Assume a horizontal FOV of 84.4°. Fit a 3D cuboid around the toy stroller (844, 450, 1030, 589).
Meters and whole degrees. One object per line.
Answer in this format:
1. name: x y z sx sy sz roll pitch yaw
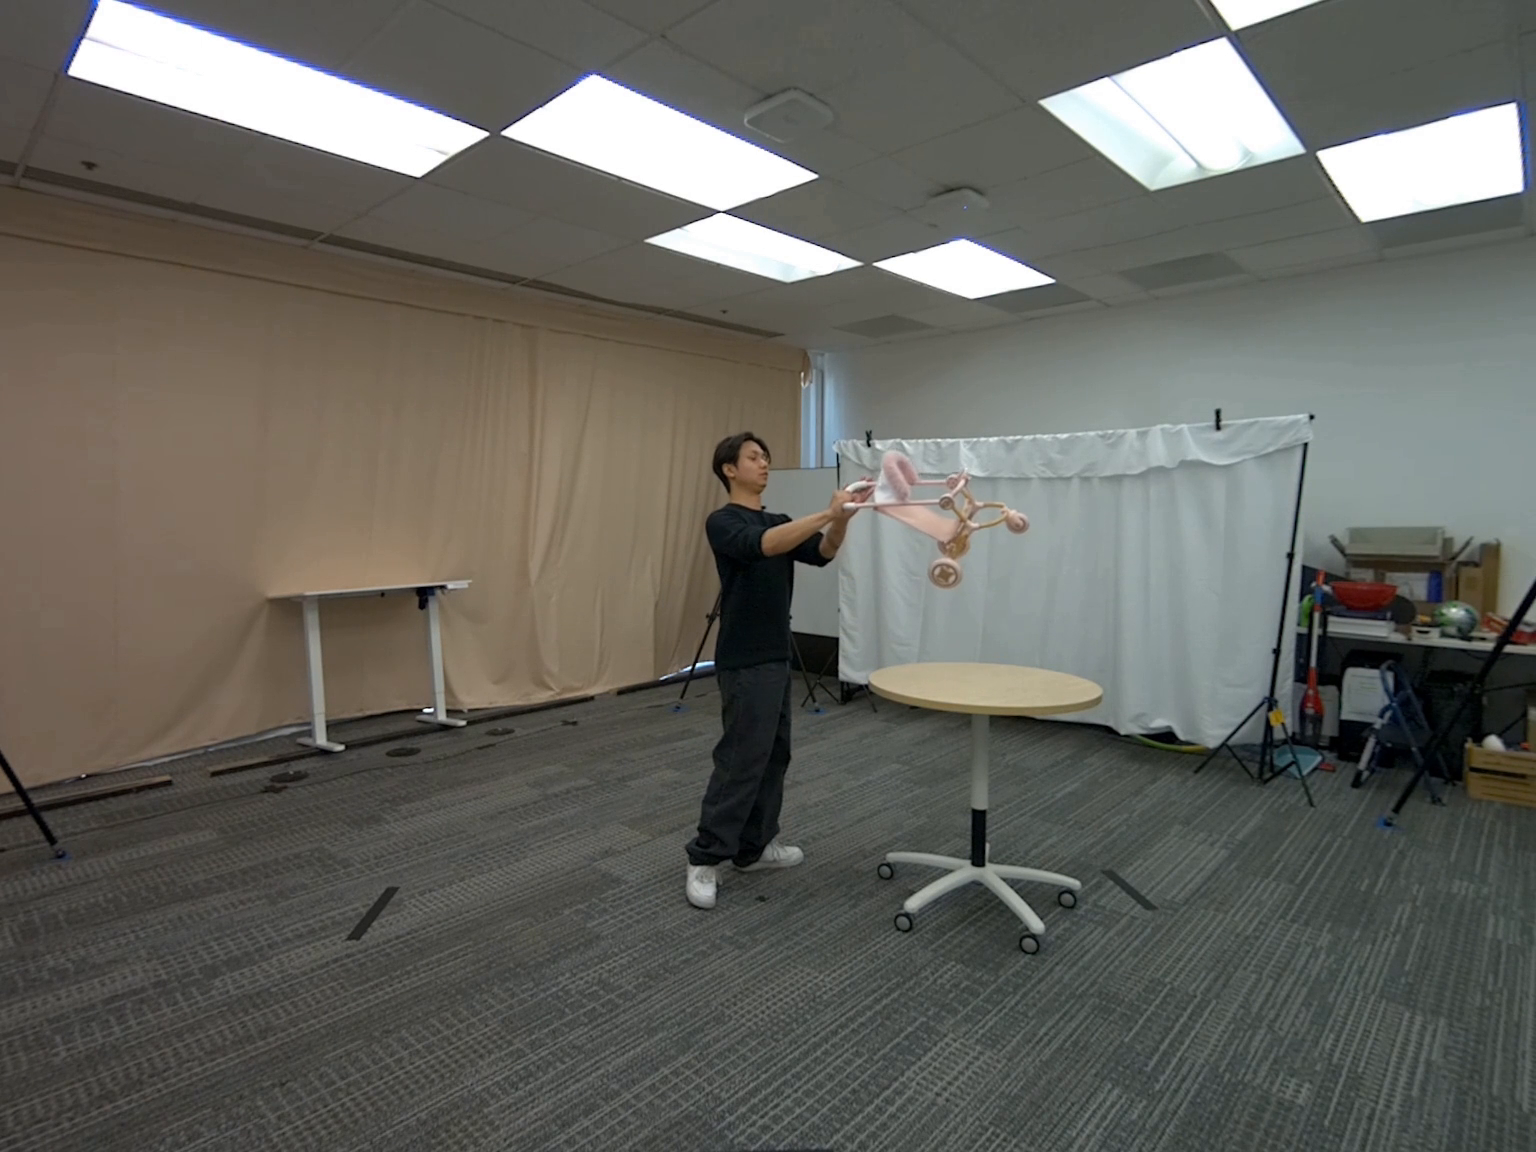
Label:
1. toy stroller: 0.553 -0.221 2.767 0.537 0.343 0.279 39 35 3
